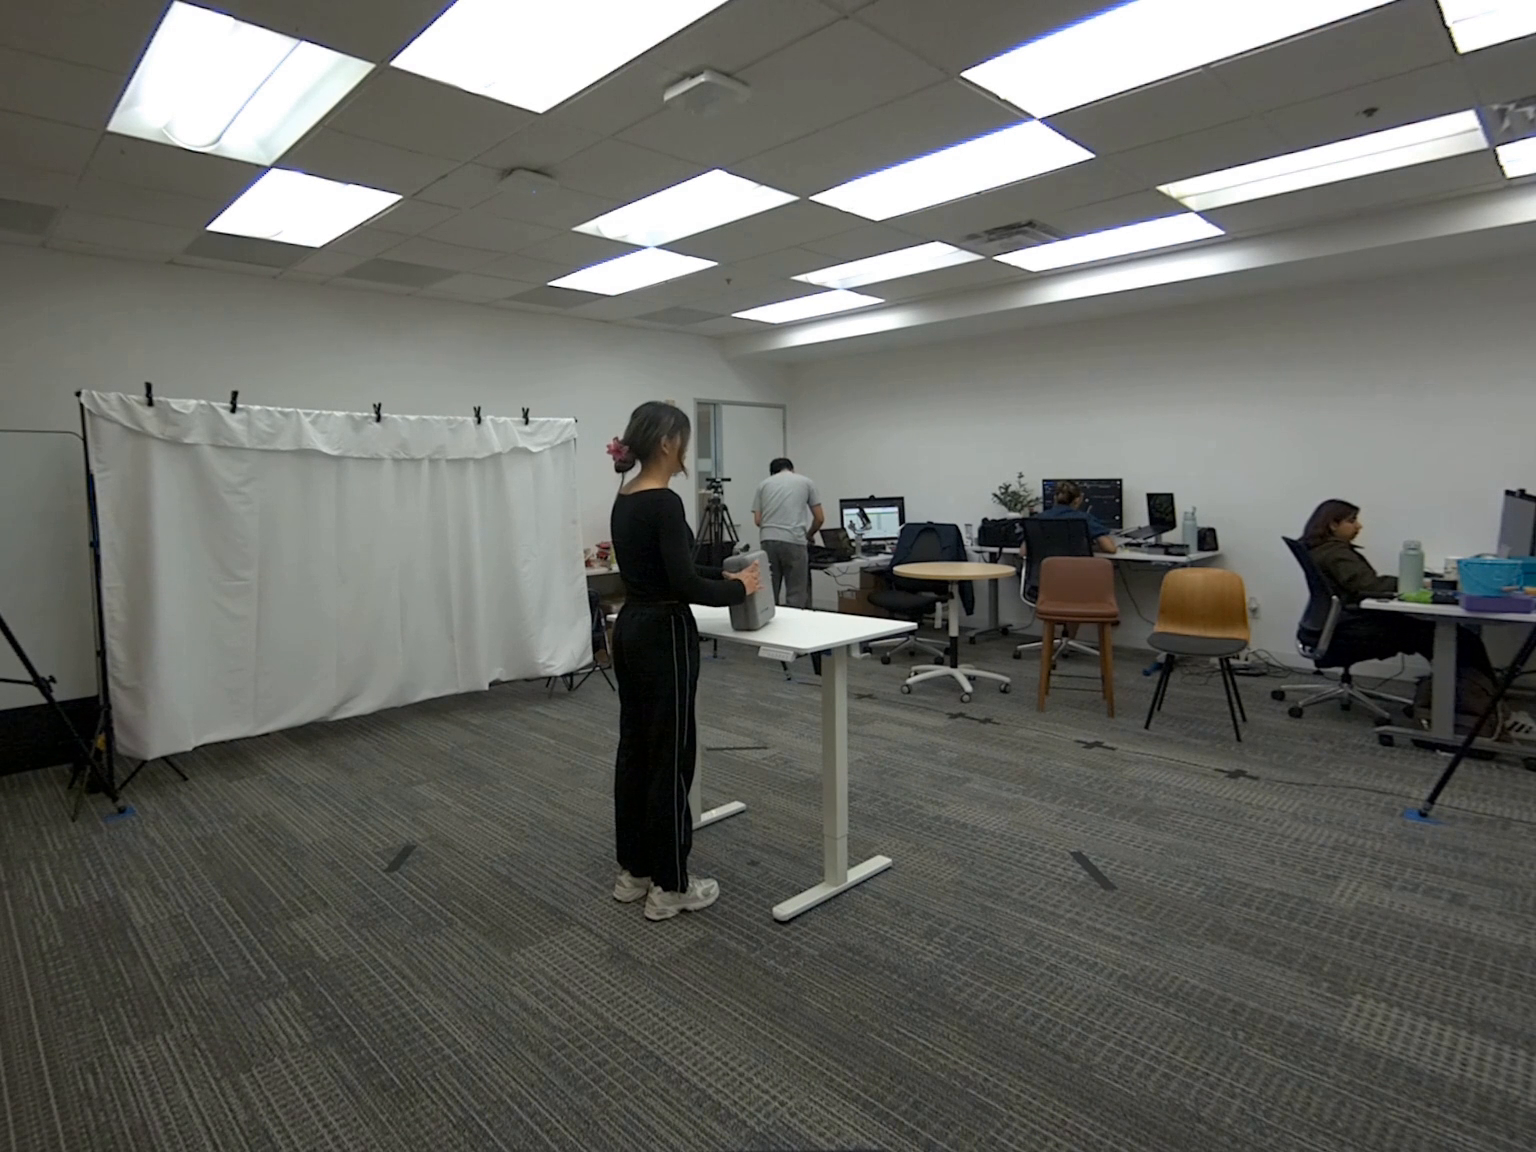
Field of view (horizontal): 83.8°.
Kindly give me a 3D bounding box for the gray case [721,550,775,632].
[{"bbox_3d":[-0.061,0.044,2.961,0.106,0.259,0.254,-4,5,17],"label":"gray case"}]
